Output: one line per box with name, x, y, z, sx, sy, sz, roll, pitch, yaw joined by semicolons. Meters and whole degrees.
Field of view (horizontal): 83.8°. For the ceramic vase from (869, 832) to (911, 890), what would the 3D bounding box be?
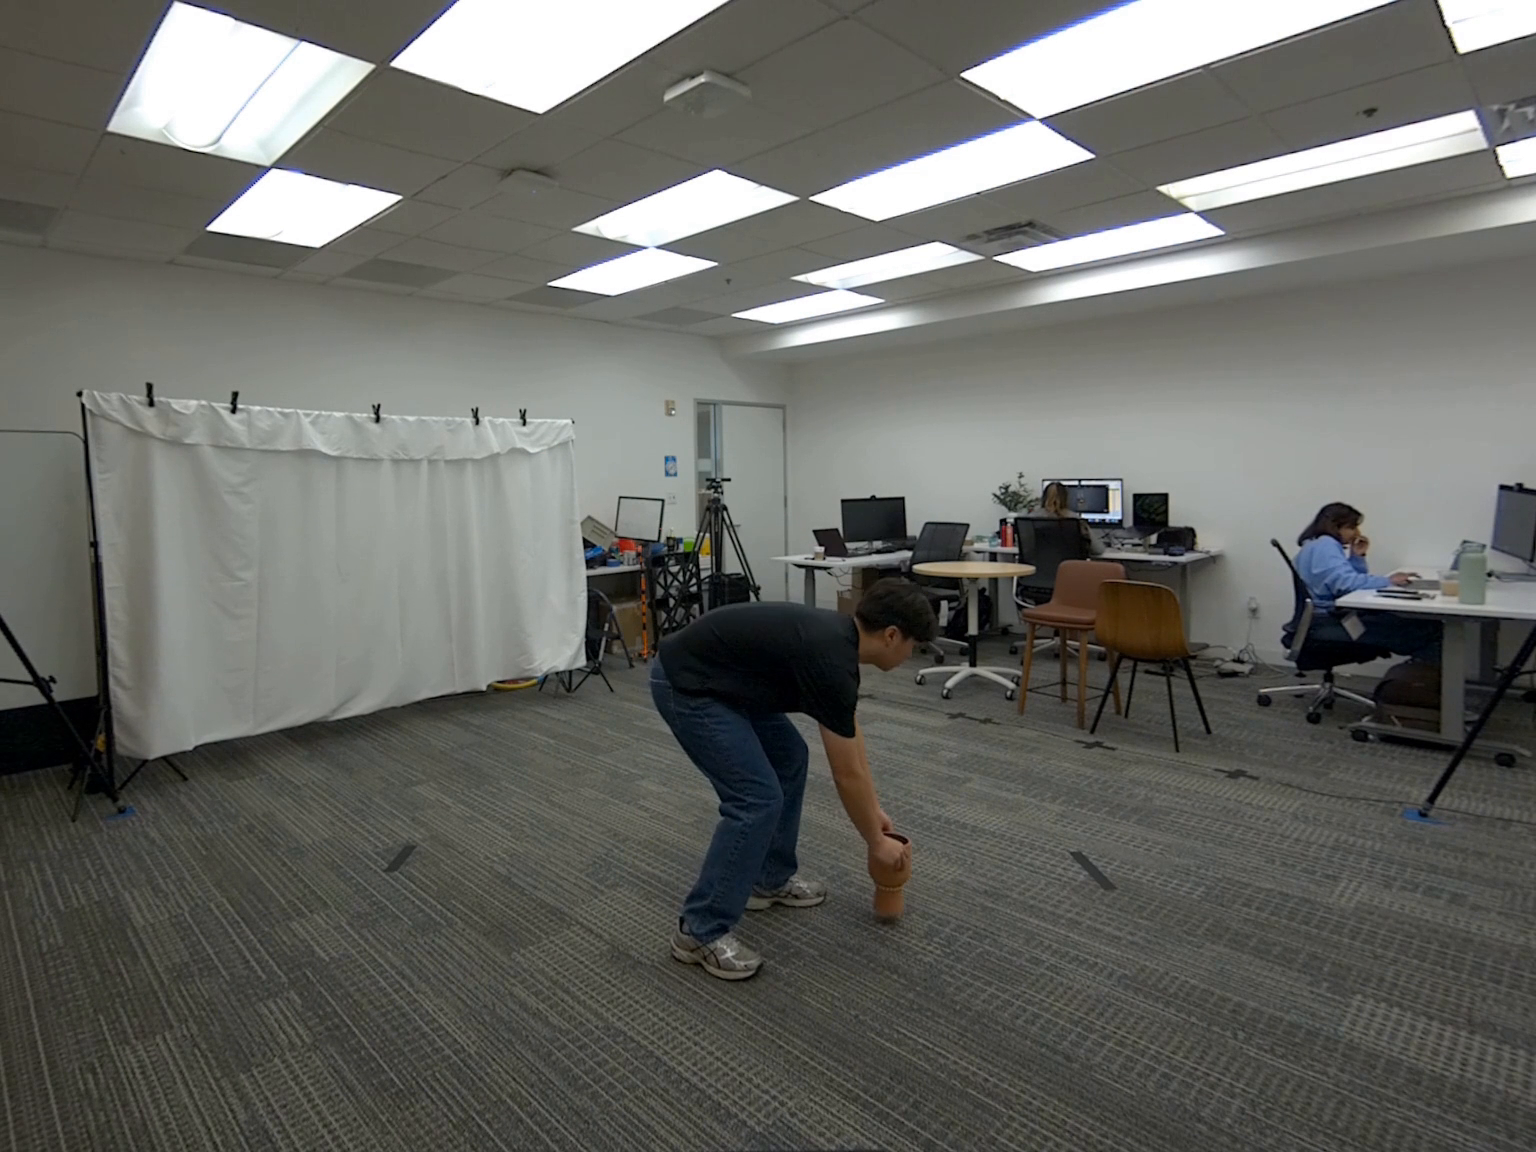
ceramic vase;0.398;0.942;2.677;0.155;0.219;0.138;0;3;-33
